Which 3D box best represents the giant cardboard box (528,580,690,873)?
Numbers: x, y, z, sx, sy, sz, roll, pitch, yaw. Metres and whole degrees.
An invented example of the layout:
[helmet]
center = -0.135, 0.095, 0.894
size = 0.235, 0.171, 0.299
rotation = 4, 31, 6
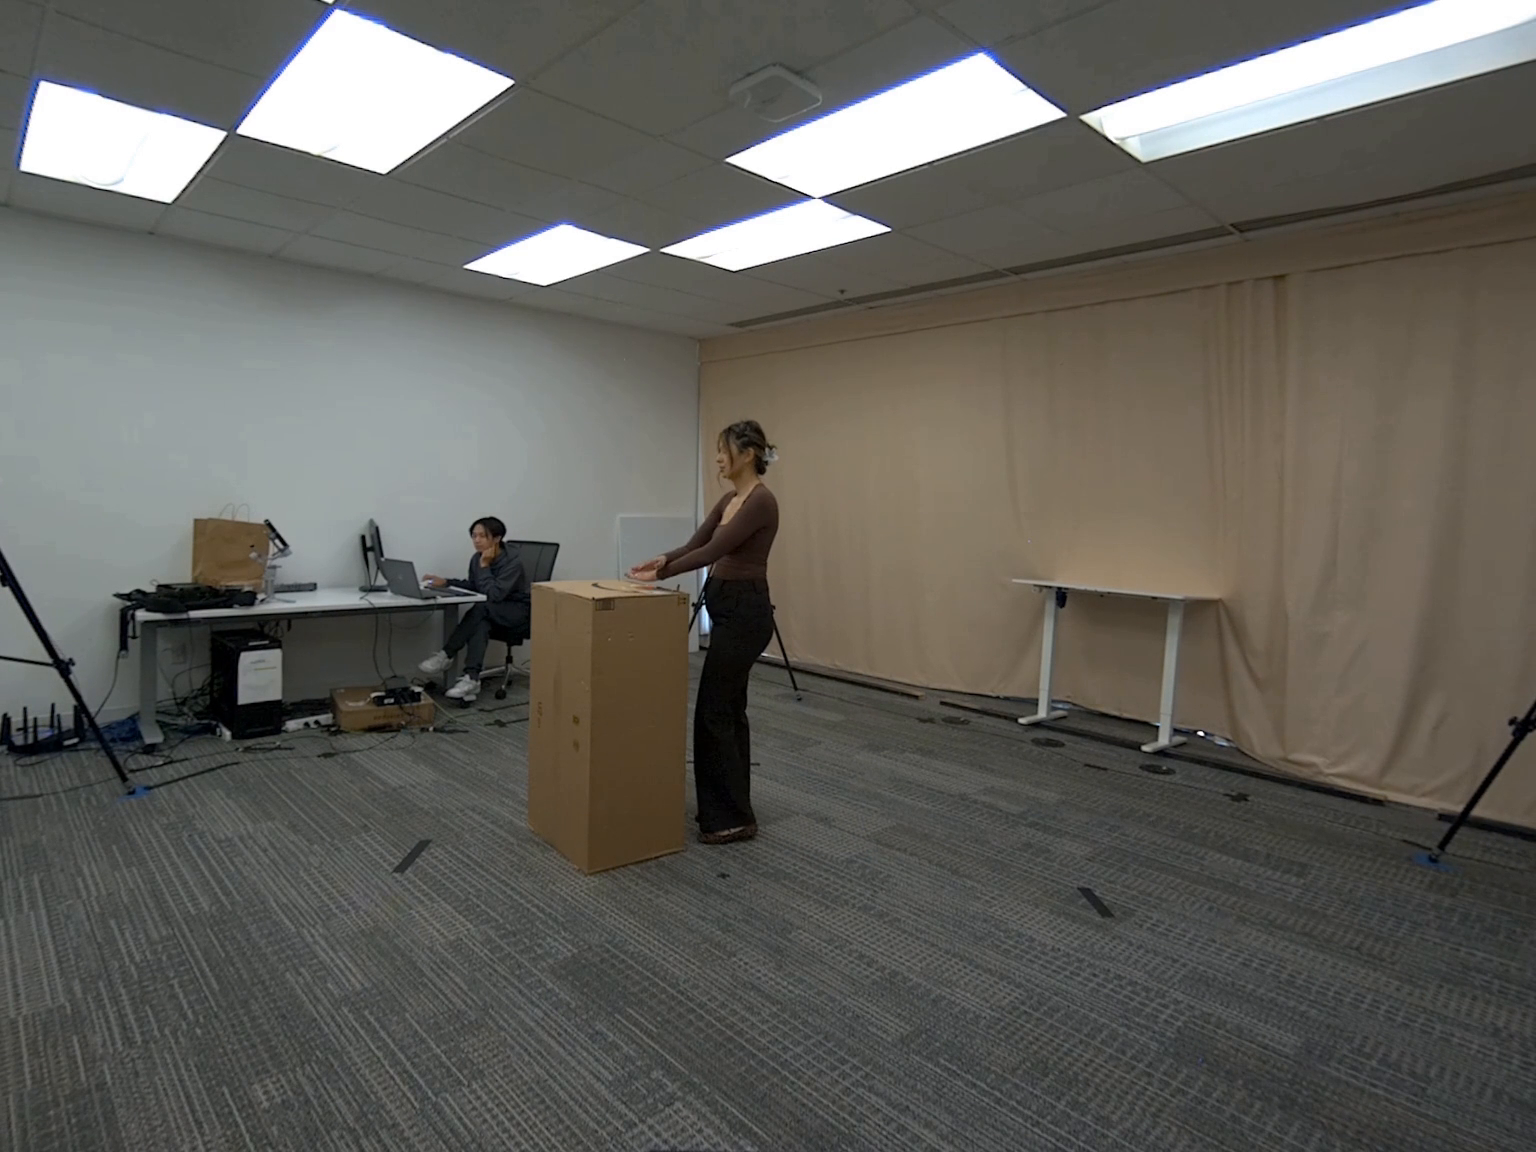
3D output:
[giant cardboard box]
center = -0.661, 0.556, 3.402
size = 0.437, 1.025, 0.598
rotation = 0, 3, -36
